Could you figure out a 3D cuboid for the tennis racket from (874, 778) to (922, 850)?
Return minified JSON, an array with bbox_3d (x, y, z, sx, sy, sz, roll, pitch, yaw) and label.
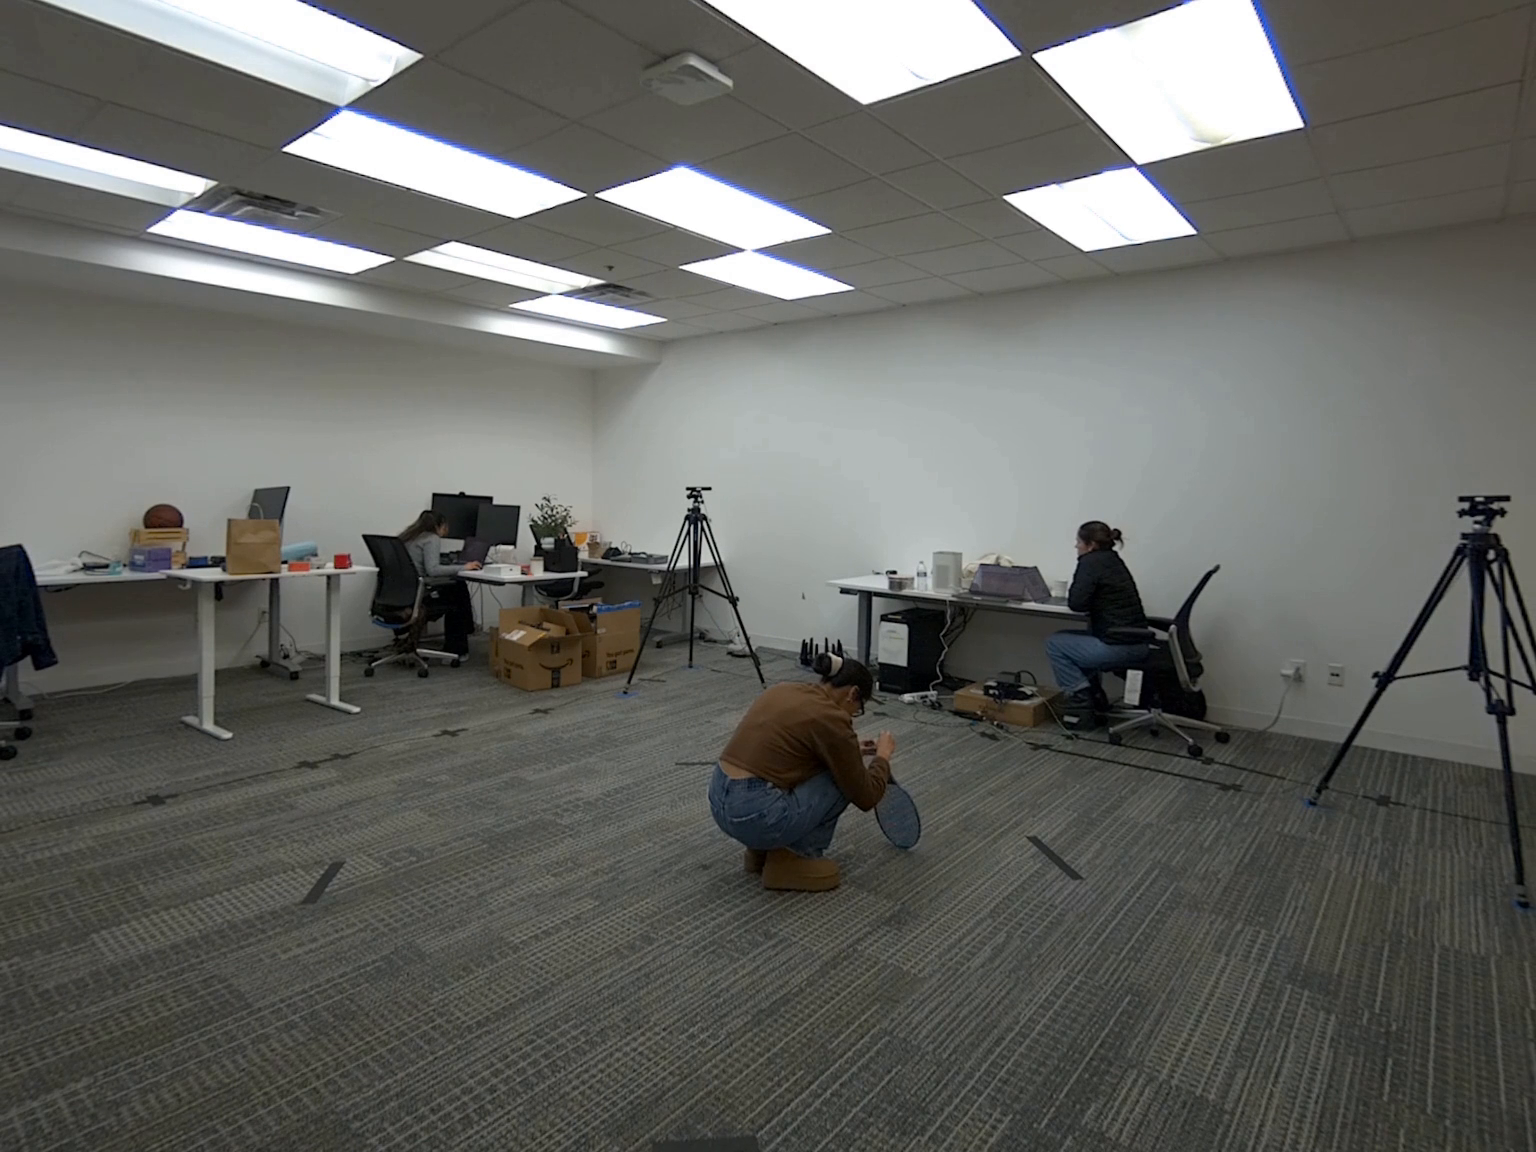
[{"bbox_3d":[0.470,0.849,3.317,0.031,0.434,0.219,-12,-2,-42],"label":"tennis racket"}]
